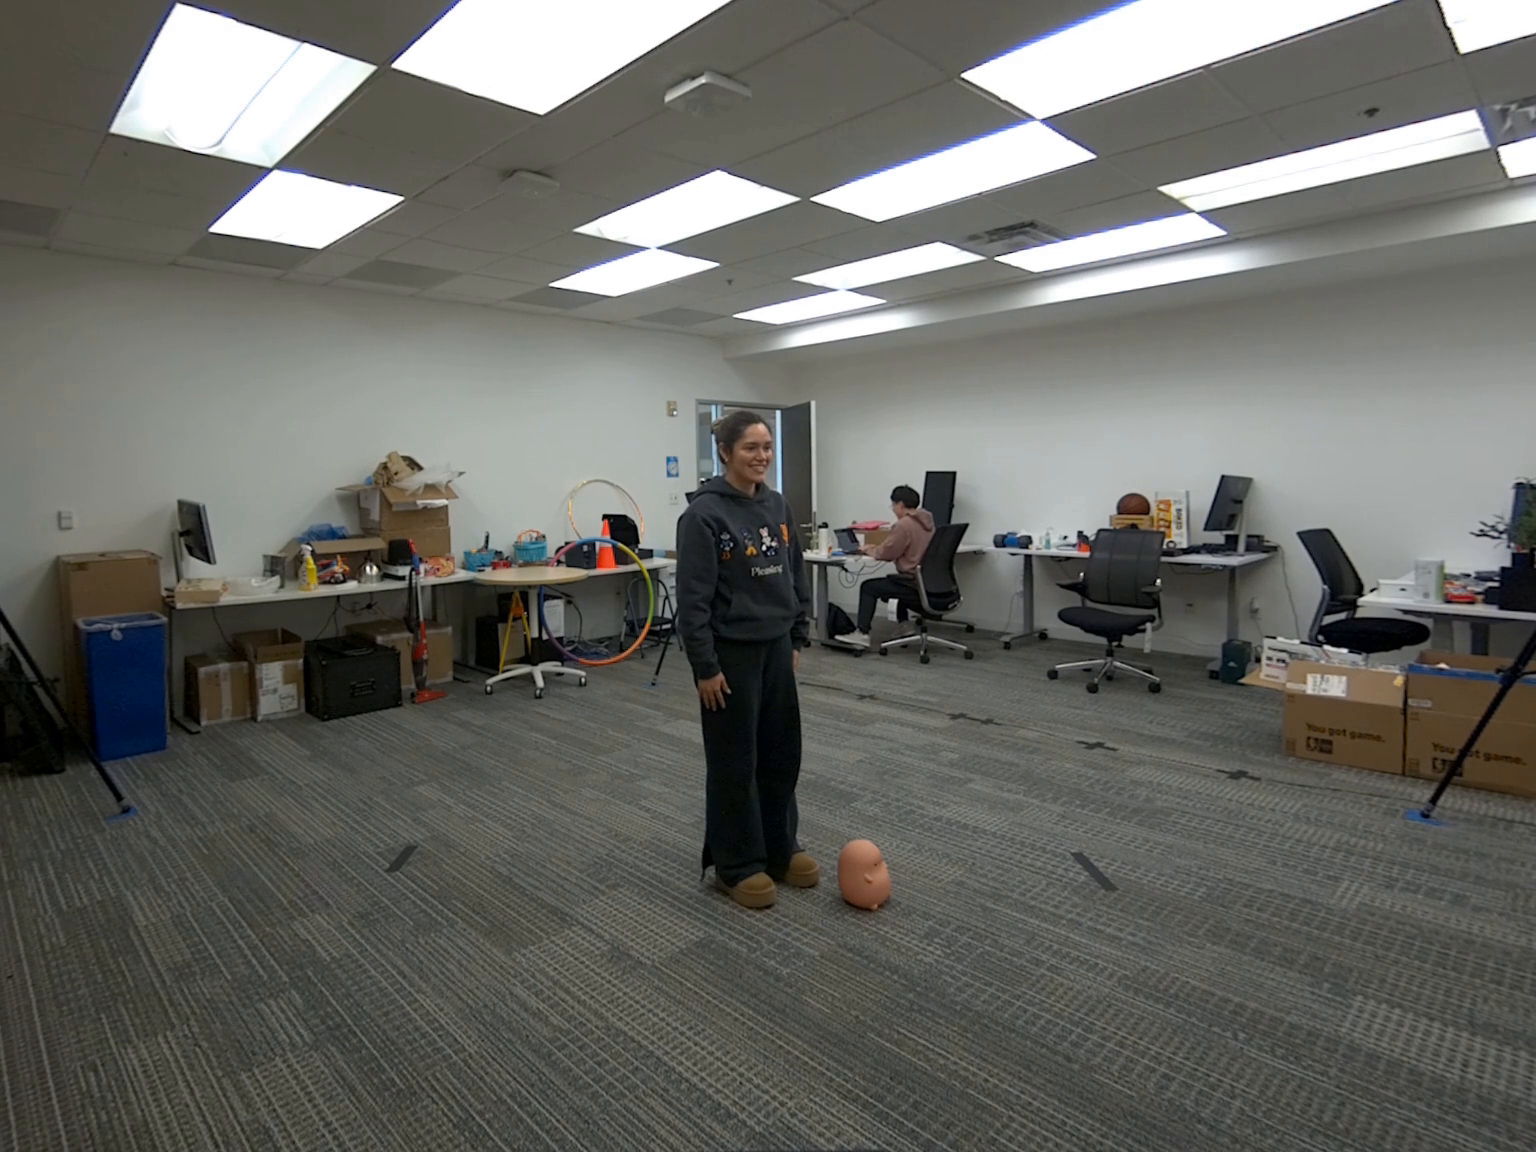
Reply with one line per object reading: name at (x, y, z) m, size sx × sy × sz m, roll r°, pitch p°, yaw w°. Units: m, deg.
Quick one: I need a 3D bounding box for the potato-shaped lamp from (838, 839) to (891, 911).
potato-shaped lamp at (0.312, 0.967, 2.793) m, size 0.176 × 0.197 × 0.161 m, roll 2°, pitch 6°, yaw 37°
